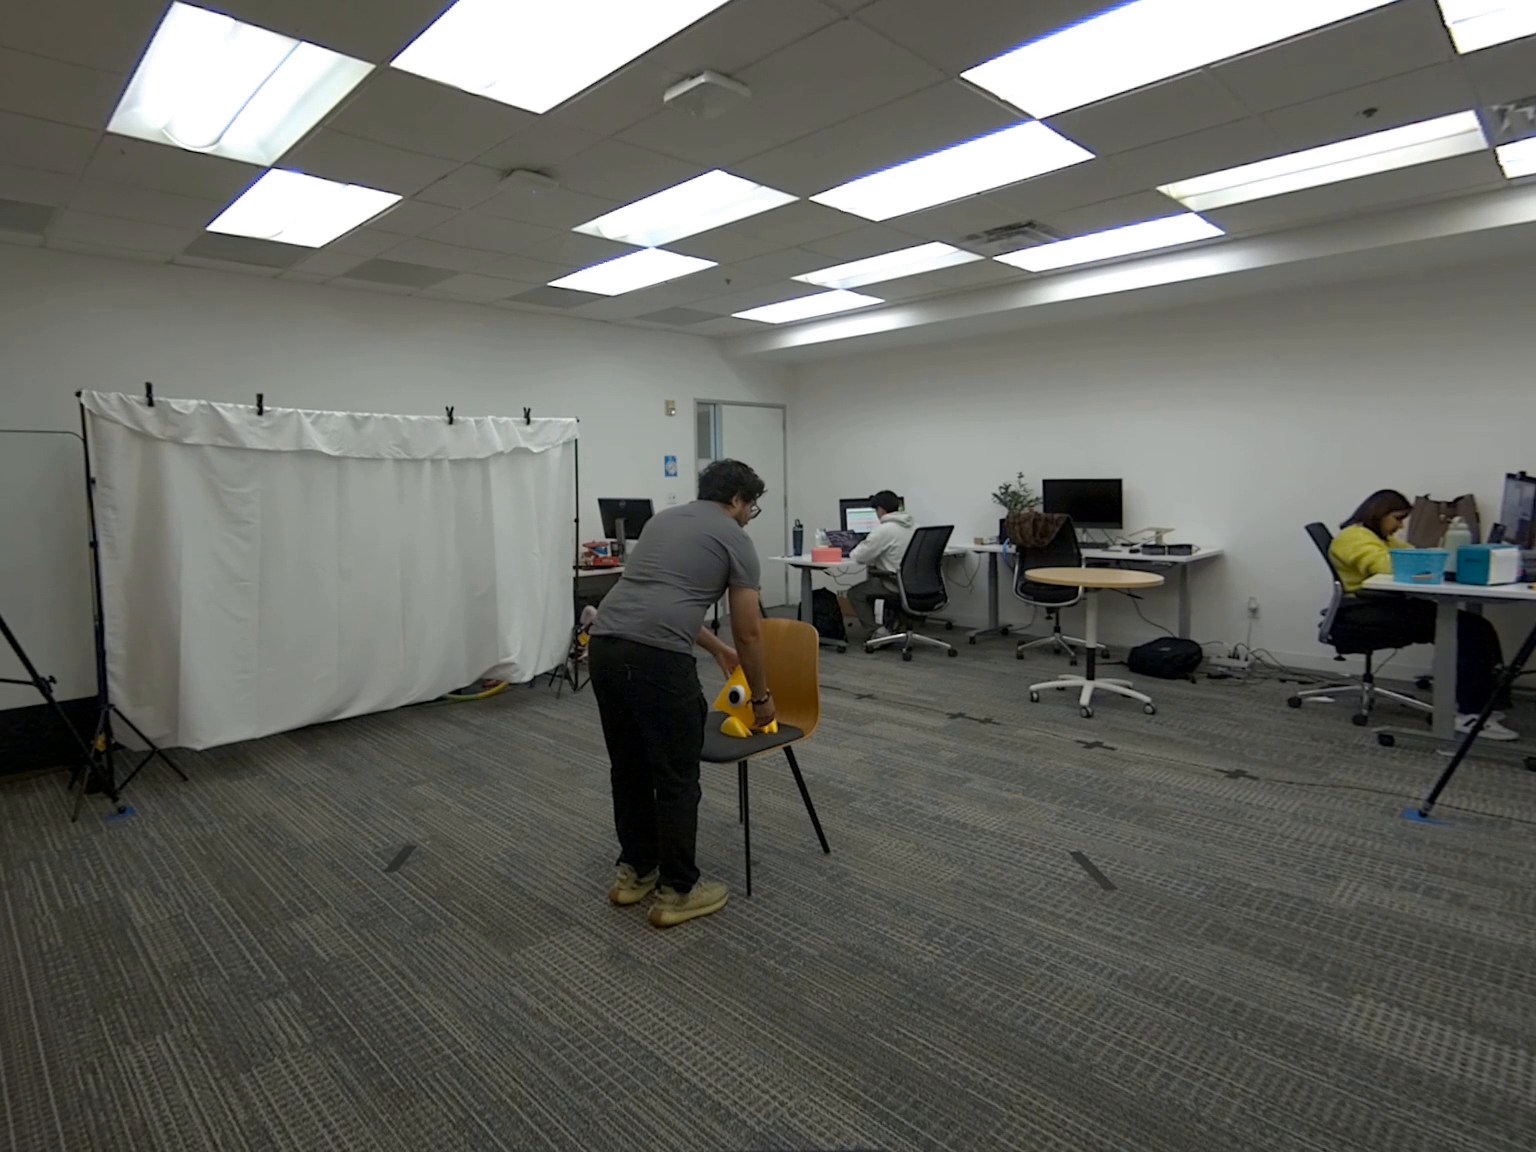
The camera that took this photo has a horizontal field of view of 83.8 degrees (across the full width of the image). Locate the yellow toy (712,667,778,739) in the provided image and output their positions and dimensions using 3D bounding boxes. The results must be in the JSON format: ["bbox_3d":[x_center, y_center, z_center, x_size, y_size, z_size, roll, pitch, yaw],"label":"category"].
[{"bbox_3d":[-0.065,0.450,3.138,0.200,0.230,0.198,1,2,-30],"label":"yellow toy"}]
